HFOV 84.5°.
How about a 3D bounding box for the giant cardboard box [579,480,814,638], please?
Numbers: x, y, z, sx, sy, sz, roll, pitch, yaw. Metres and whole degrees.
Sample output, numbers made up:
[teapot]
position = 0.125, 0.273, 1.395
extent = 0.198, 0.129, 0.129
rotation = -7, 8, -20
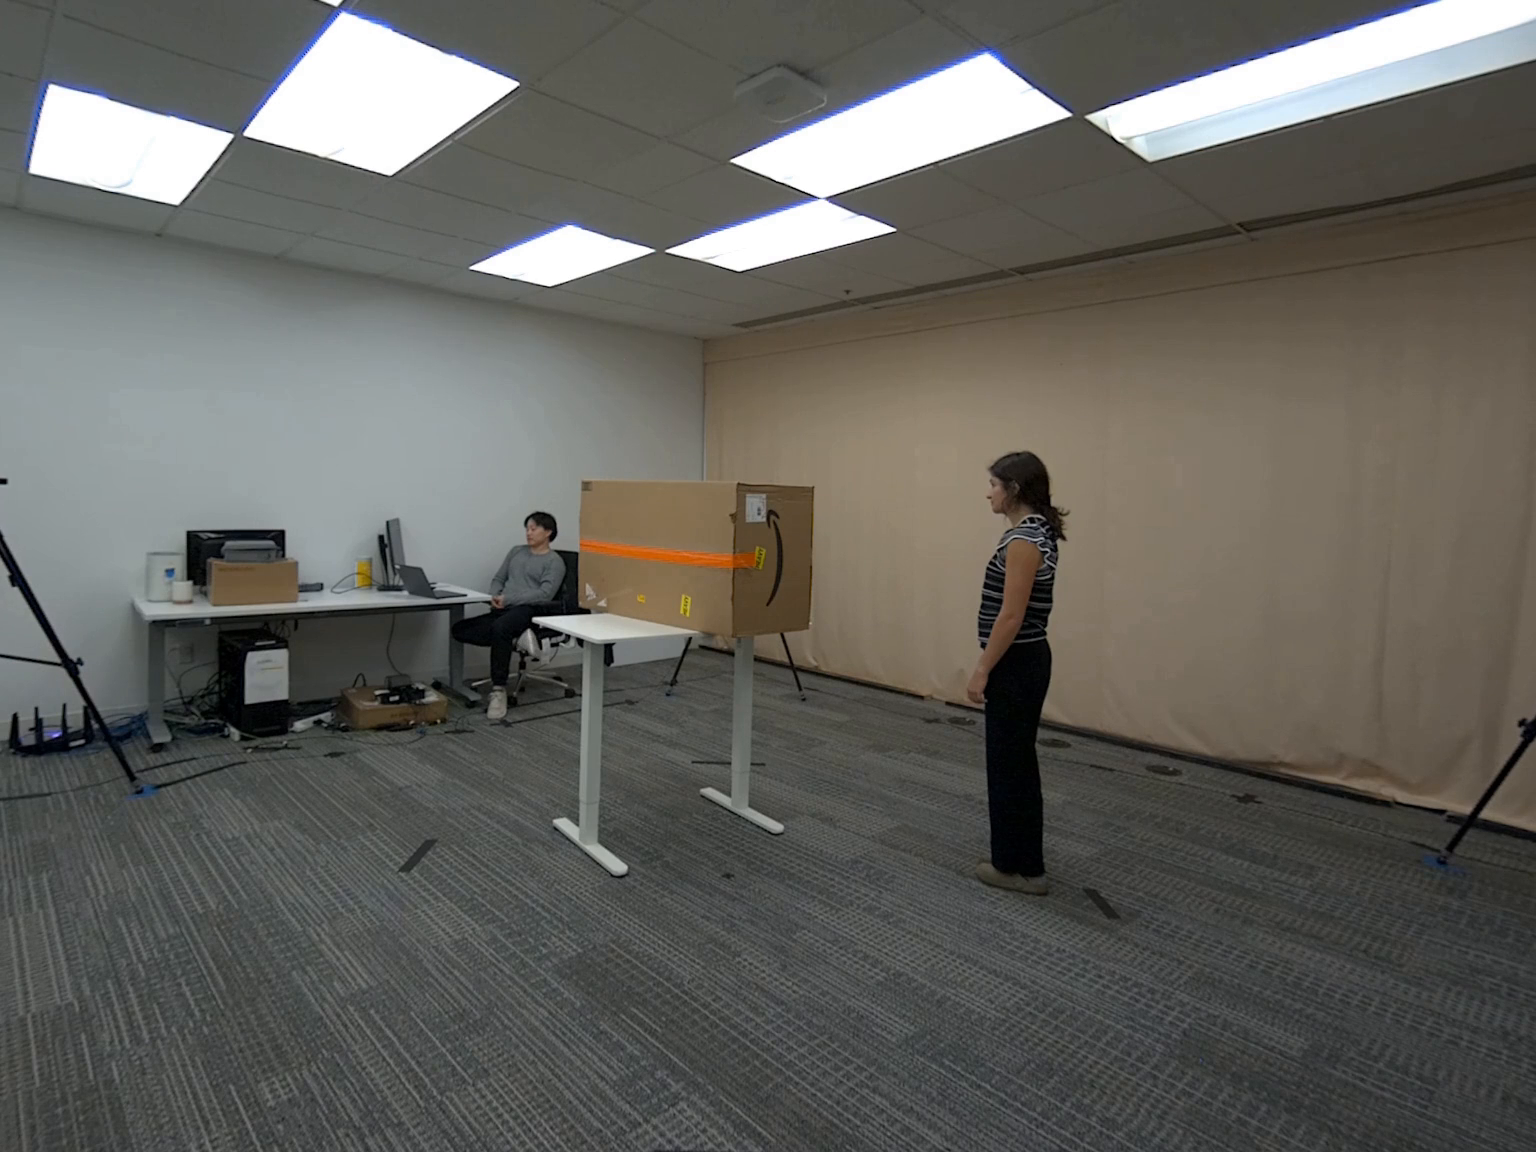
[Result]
[giant cardboard box]
position = -0.349, -0.109, 3.568
extent = 0.416, 0.576, 1.052
rotation = -2, 6, -44
